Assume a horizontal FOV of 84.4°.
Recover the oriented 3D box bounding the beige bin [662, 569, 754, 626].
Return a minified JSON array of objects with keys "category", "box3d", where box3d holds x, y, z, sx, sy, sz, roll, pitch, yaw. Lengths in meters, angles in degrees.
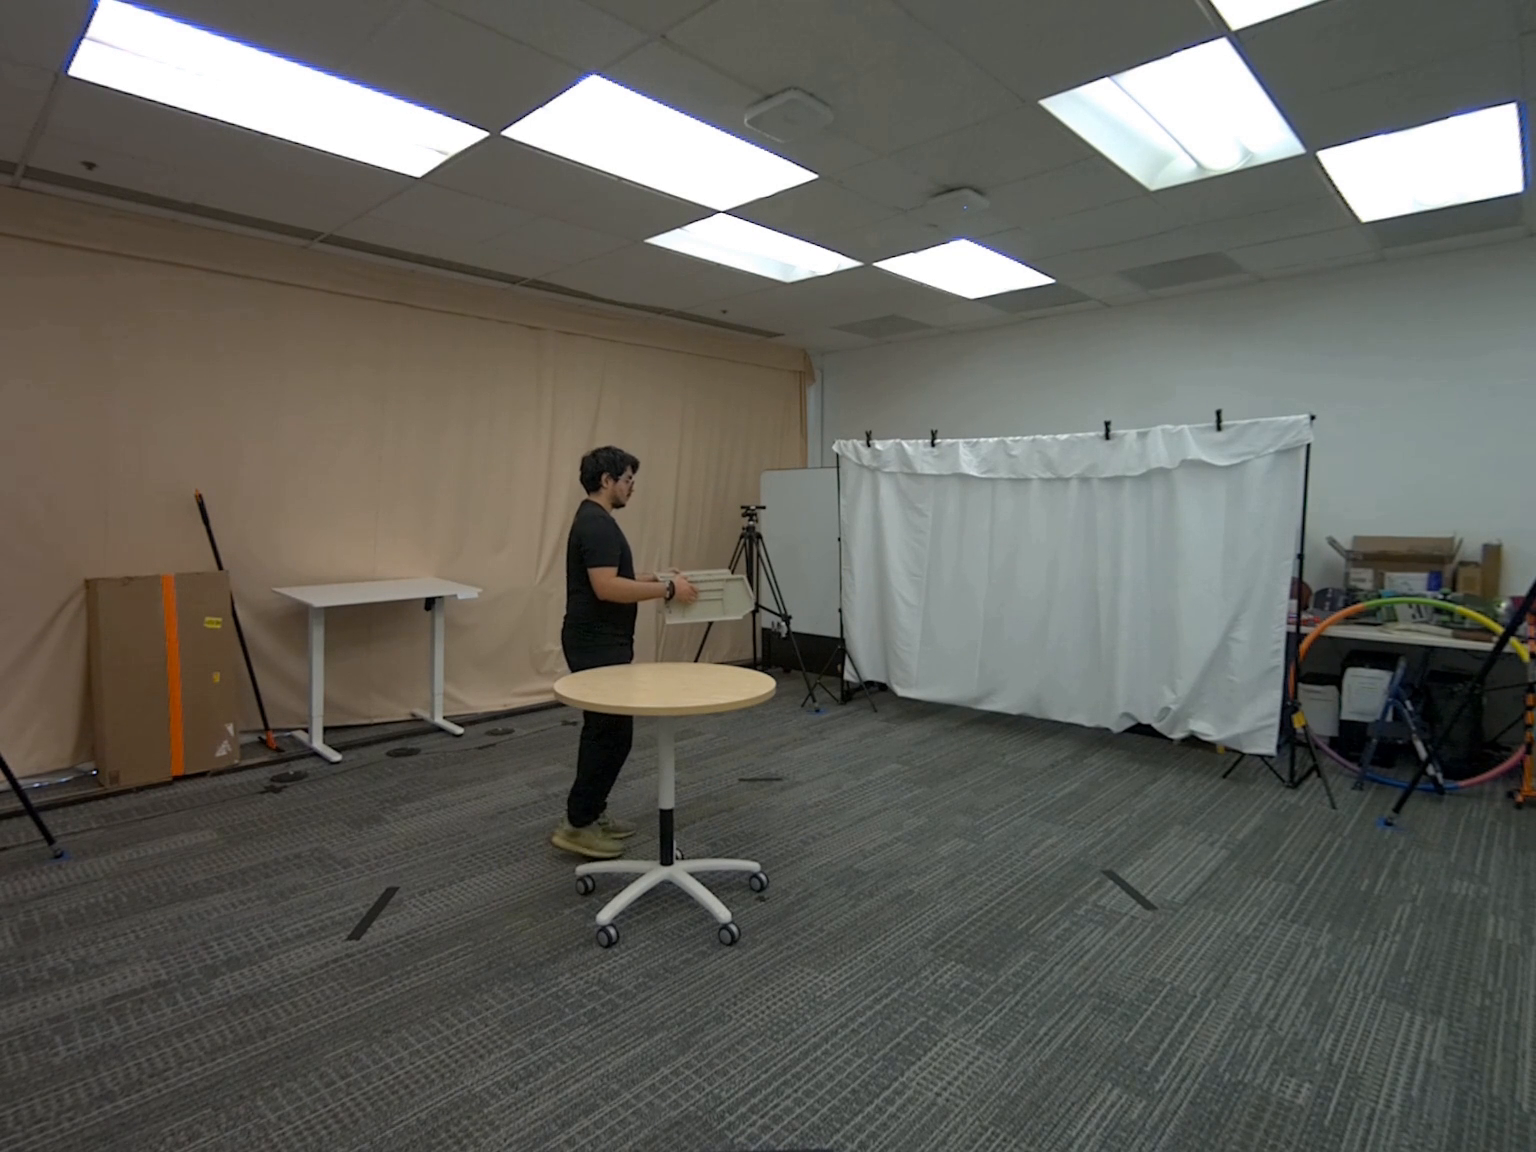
[{"category":"beige bin","box3d":[-0.285,0.088,3.587,0.373,0.188,0.428,-4,4,-12]}]
